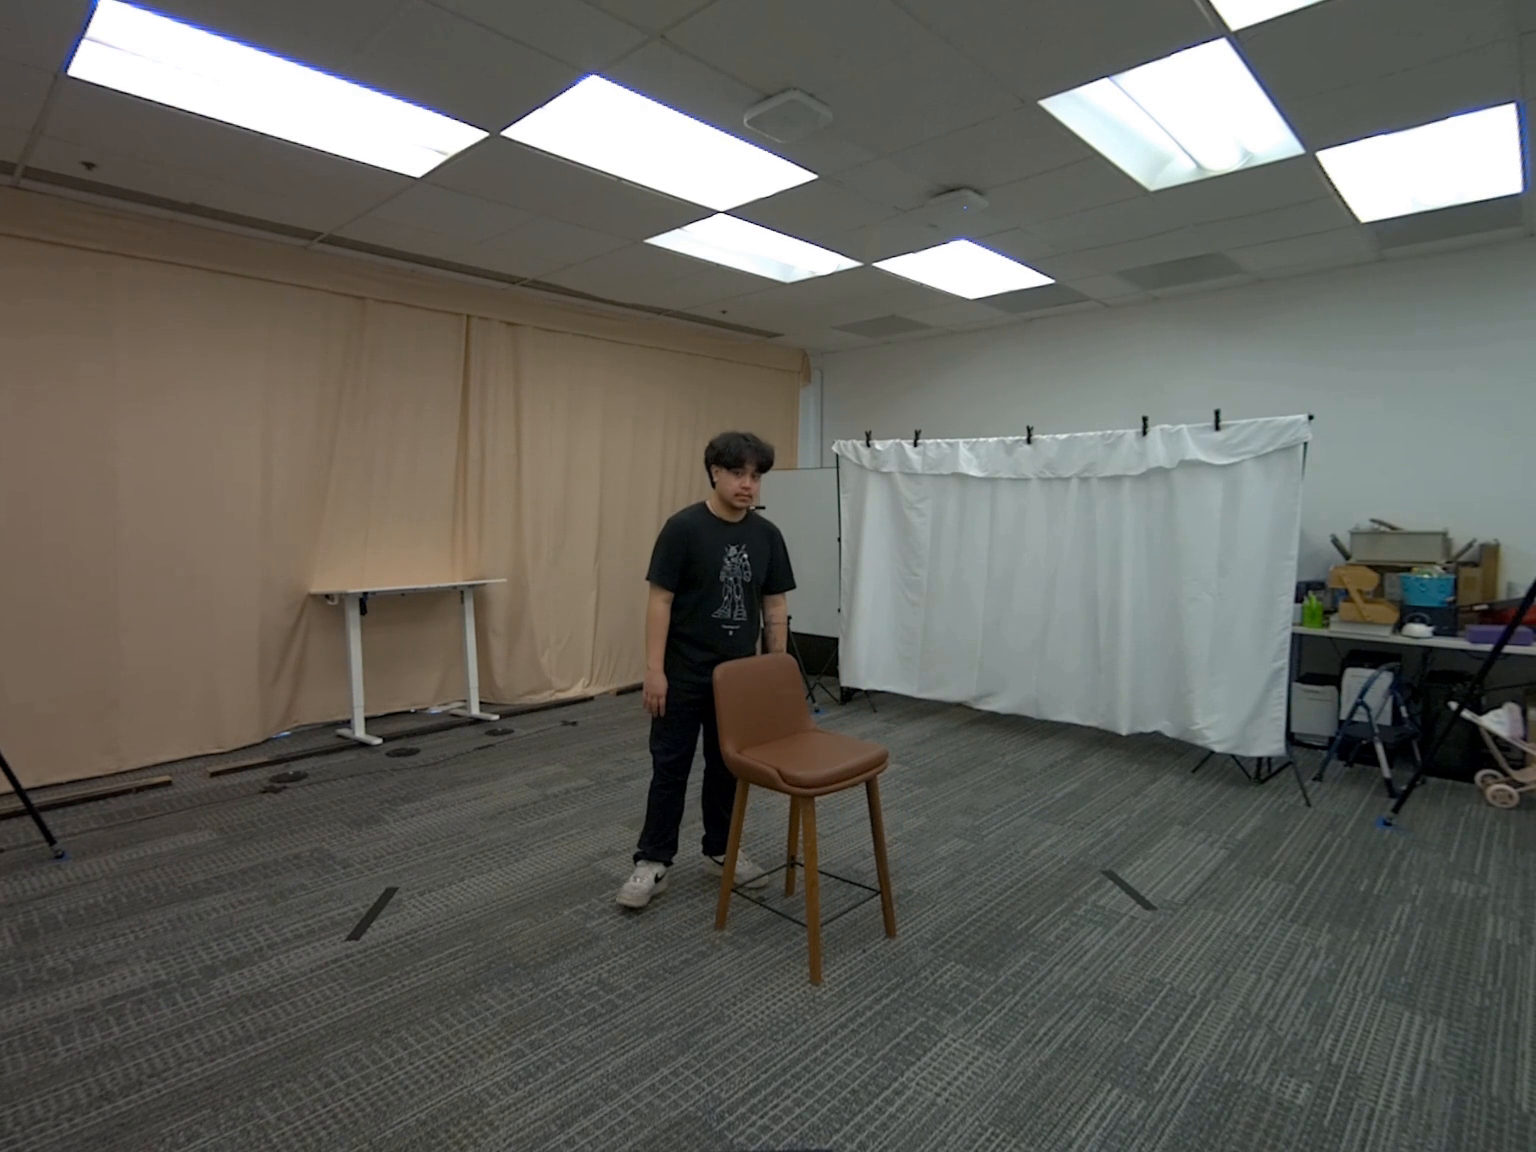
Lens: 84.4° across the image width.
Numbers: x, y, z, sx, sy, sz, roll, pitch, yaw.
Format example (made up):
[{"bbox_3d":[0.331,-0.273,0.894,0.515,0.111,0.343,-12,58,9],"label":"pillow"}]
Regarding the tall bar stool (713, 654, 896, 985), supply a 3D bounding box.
[{"bbox_3d":[0.115,0.730,2.723,0.483,0.888,0.442,1,3,44],"label":"tall bar stool"}]
